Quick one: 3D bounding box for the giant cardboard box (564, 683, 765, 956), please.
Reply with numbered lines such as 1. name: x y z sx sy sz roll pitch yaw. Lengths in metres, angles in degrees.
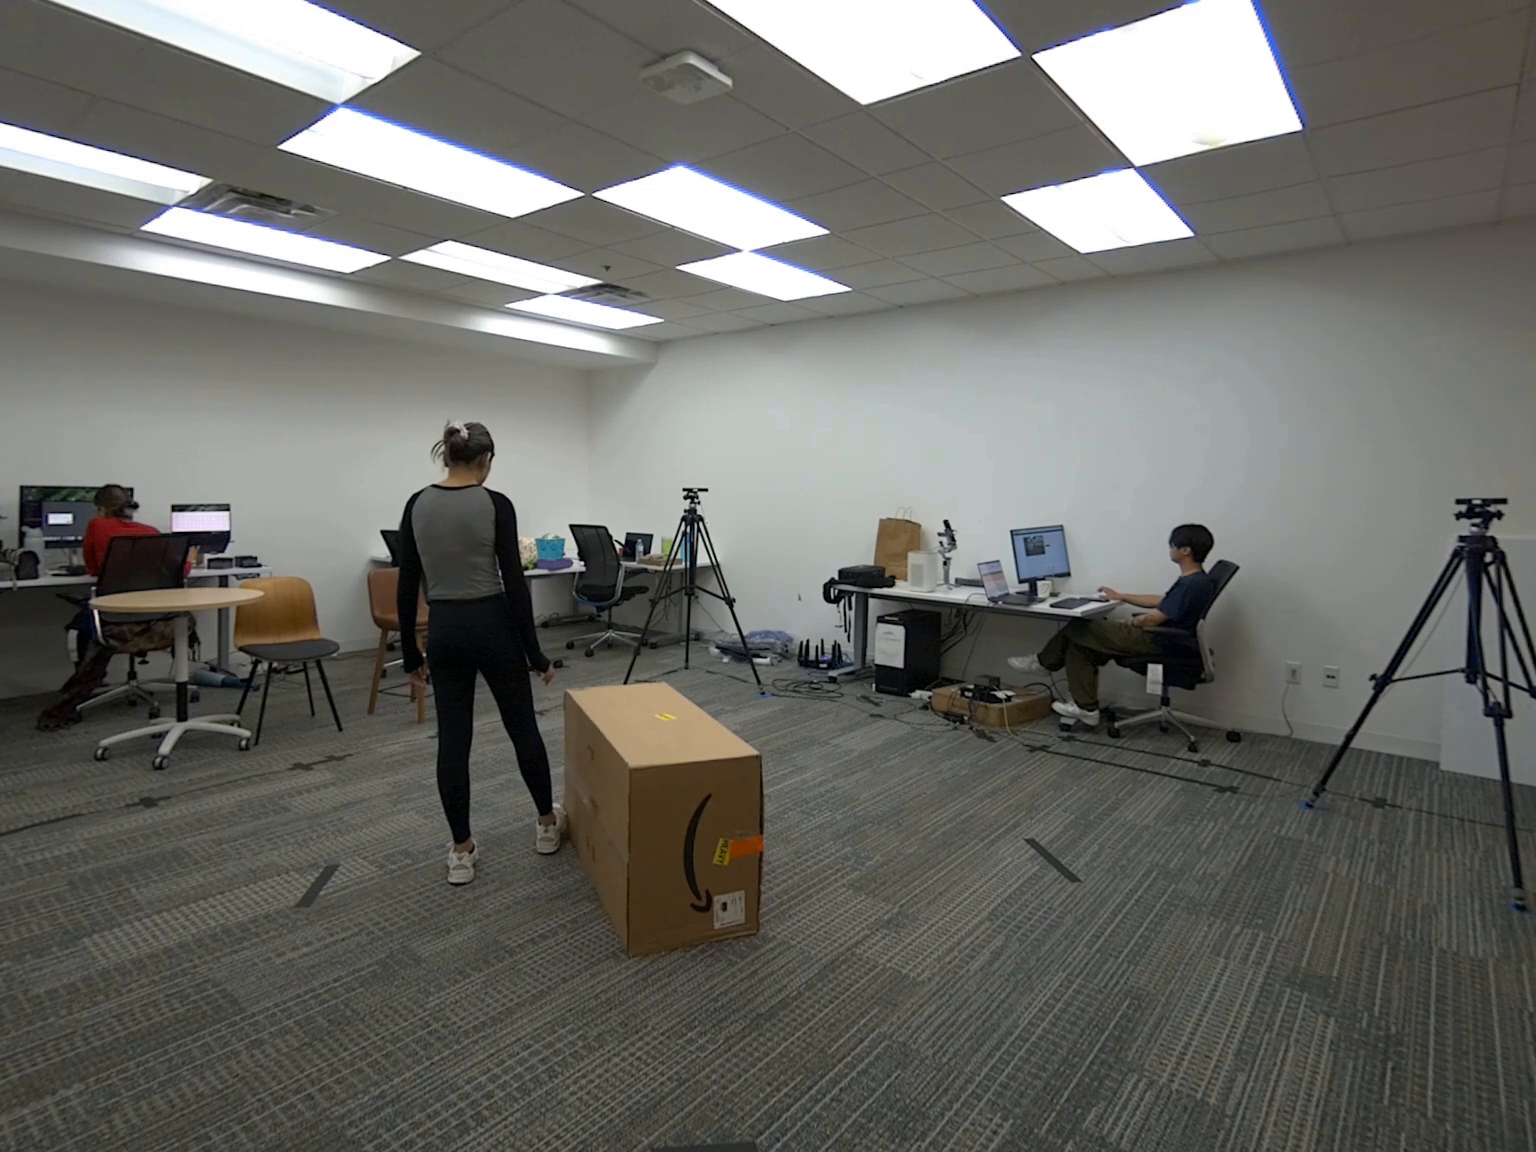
1. giant cardboard box: -0.429 0.782 3.039 0.417 0.575 1.052 -1 5 -23
